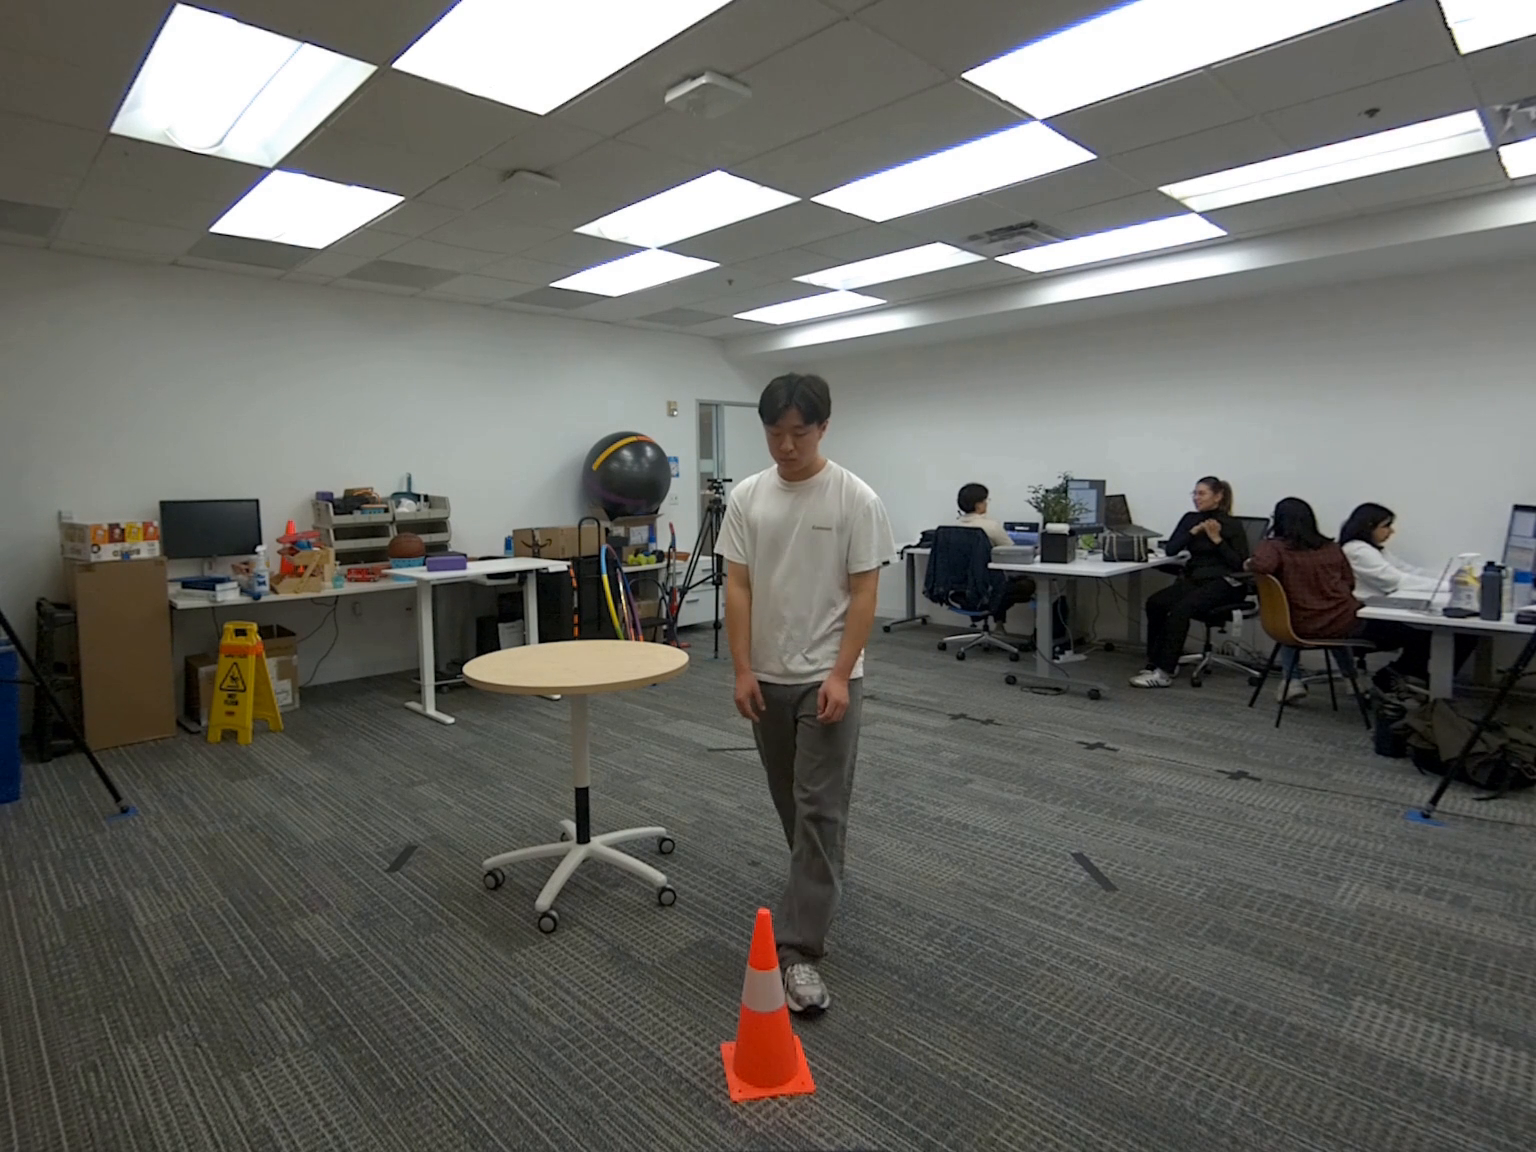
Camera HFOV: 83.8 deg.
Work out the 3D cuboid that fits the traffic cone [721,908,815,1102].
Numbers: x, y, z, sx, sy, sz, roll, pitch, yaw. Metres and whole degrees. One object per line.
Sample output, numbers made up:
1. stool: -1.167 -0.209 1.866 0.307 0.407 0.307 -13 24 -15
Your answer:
1. traffic cone: 0.001 0.991 2.018 0.202 0.382 0.207 -3 5 -8
